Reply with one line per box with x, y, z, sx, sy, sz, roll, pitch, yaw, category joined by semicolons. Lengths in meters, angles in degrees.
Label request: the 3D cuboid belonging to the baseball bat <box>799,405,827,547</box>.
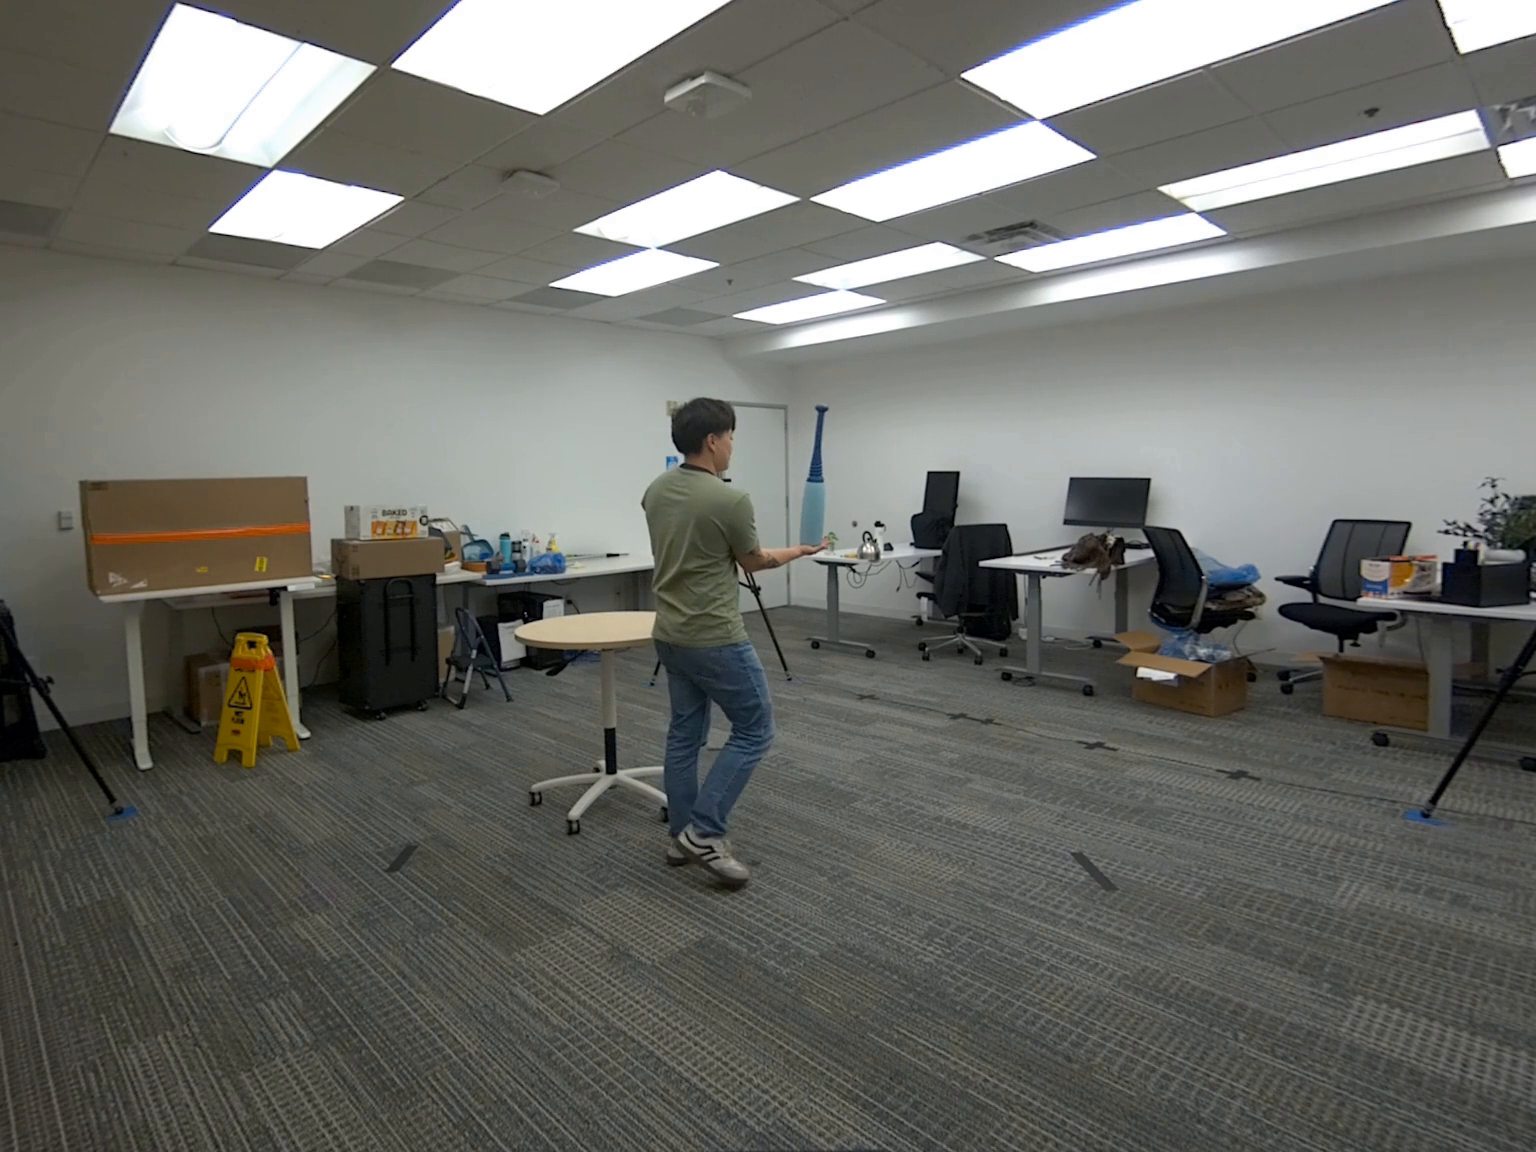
0.191;-0.382;3.253;0.089;0.539;0.090;3;8;-2;baseball bat
